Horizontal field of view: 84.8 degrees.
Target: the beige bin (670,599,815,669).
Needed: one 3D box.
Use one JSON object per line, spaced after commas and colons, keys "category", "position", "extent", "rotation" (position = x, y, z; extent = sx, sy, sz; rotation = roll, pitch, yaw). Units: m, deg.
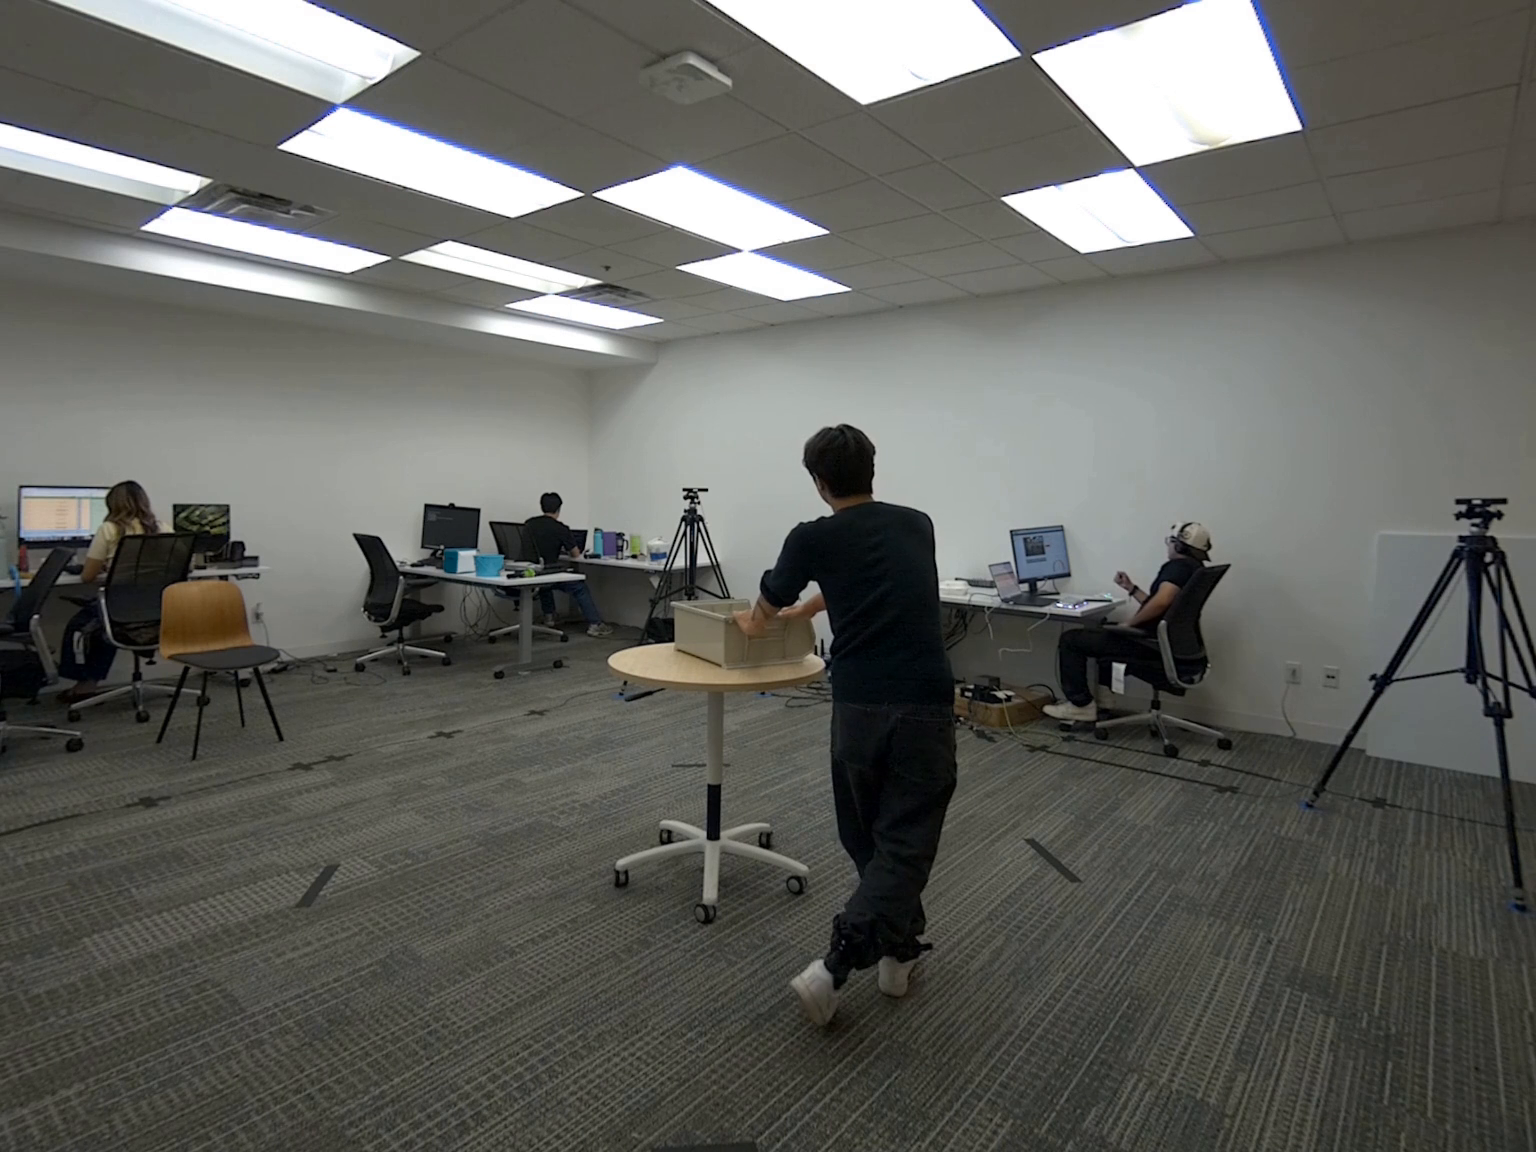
{"category": "beige bin", "position": [-0.107, 0.200, 3.107], "extent": [0.367, 0.188, 0.435], "rotation": [-4, 7, -31]}
